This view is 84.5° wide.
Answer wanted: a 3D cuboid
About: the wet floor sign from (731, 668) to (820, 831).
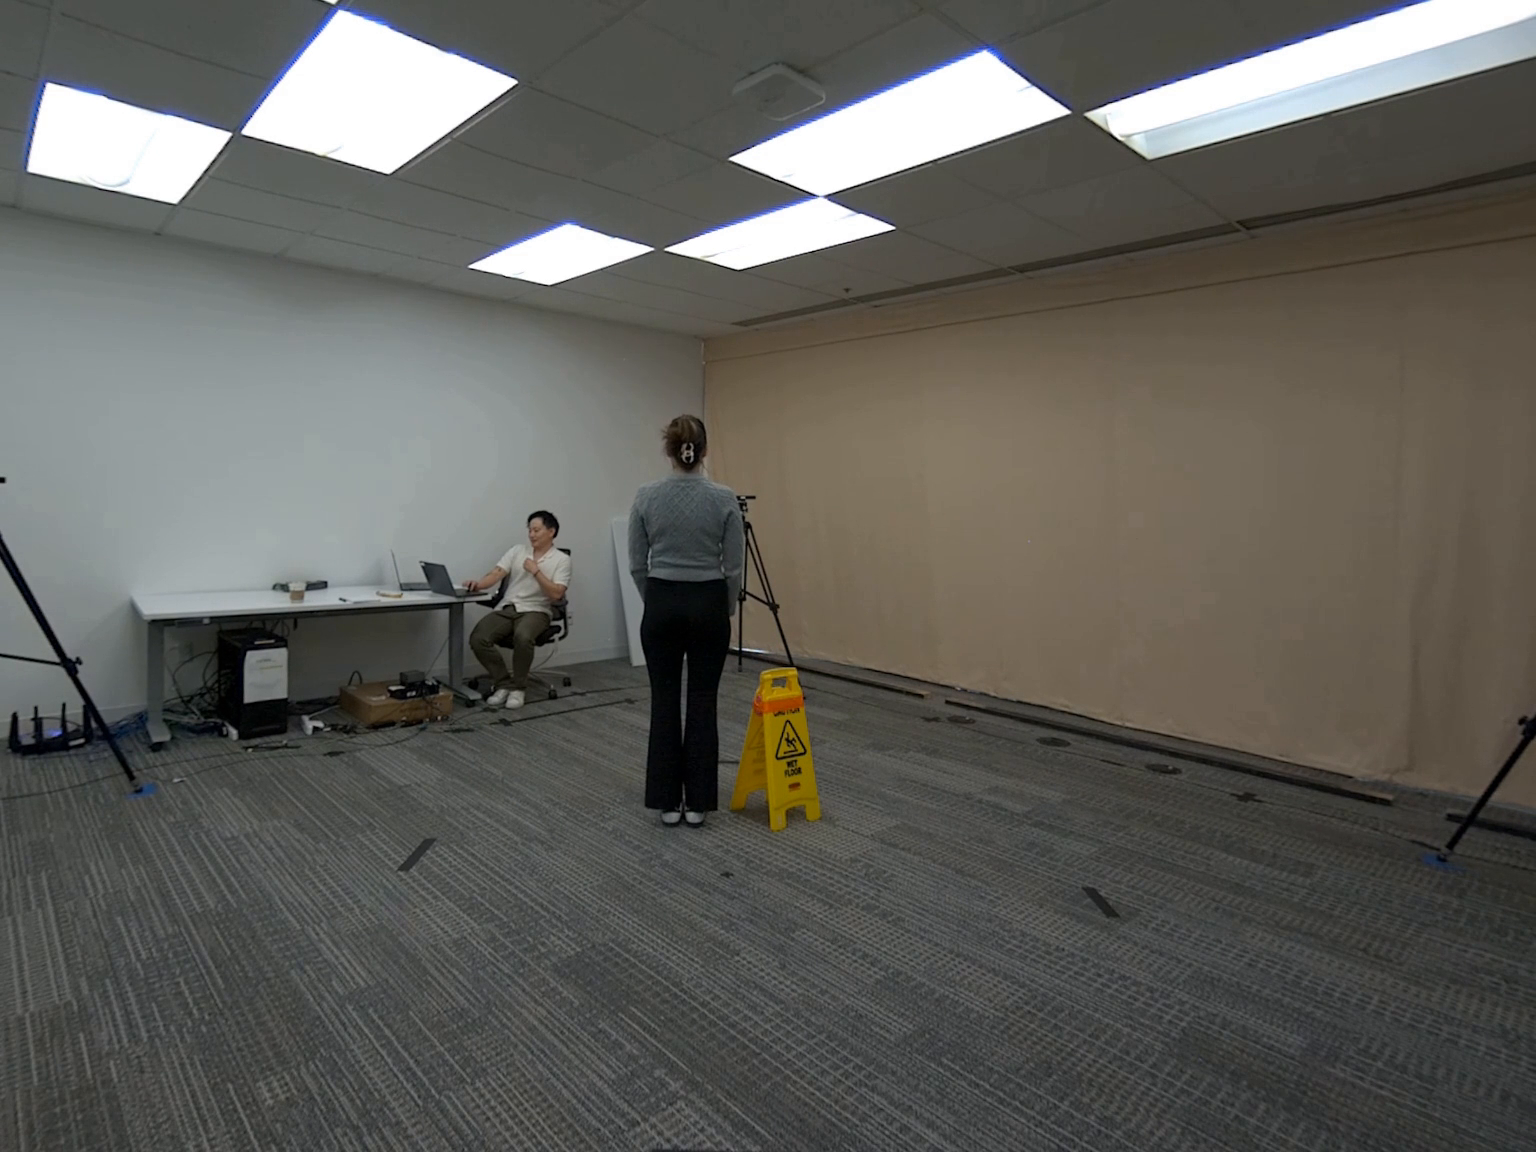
[{"bbox_3d":[0.033,0.730,3.704,0.276,0.644,0.297,-1,4,-39],"label":"wet floor sign"}]
